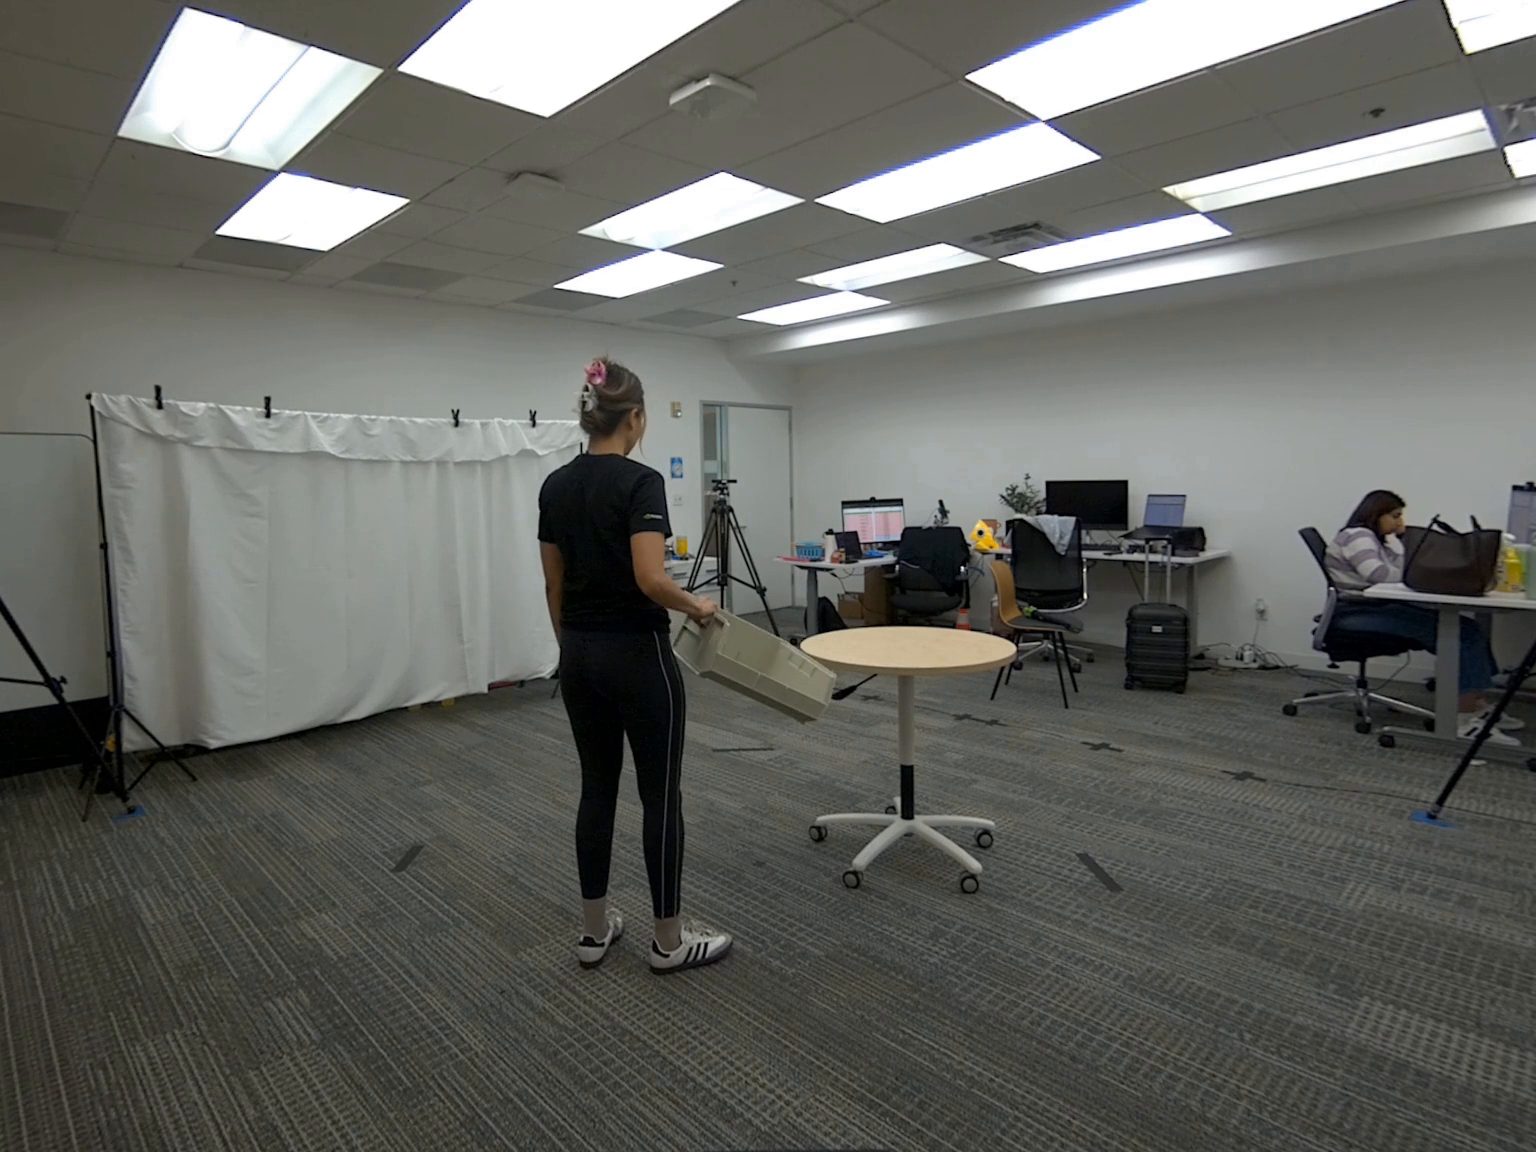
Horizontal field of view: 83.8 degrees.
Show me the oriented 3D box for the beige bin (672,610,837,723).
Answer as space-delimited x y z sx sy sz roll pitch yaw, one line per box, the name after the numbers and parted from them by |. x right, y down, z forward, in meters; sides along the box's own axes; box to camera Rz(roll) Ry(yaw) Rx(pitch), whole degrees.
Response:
-0.056 0.252 2.614 0.410 0.189 0.389 28 -1 -27 | beige bin
